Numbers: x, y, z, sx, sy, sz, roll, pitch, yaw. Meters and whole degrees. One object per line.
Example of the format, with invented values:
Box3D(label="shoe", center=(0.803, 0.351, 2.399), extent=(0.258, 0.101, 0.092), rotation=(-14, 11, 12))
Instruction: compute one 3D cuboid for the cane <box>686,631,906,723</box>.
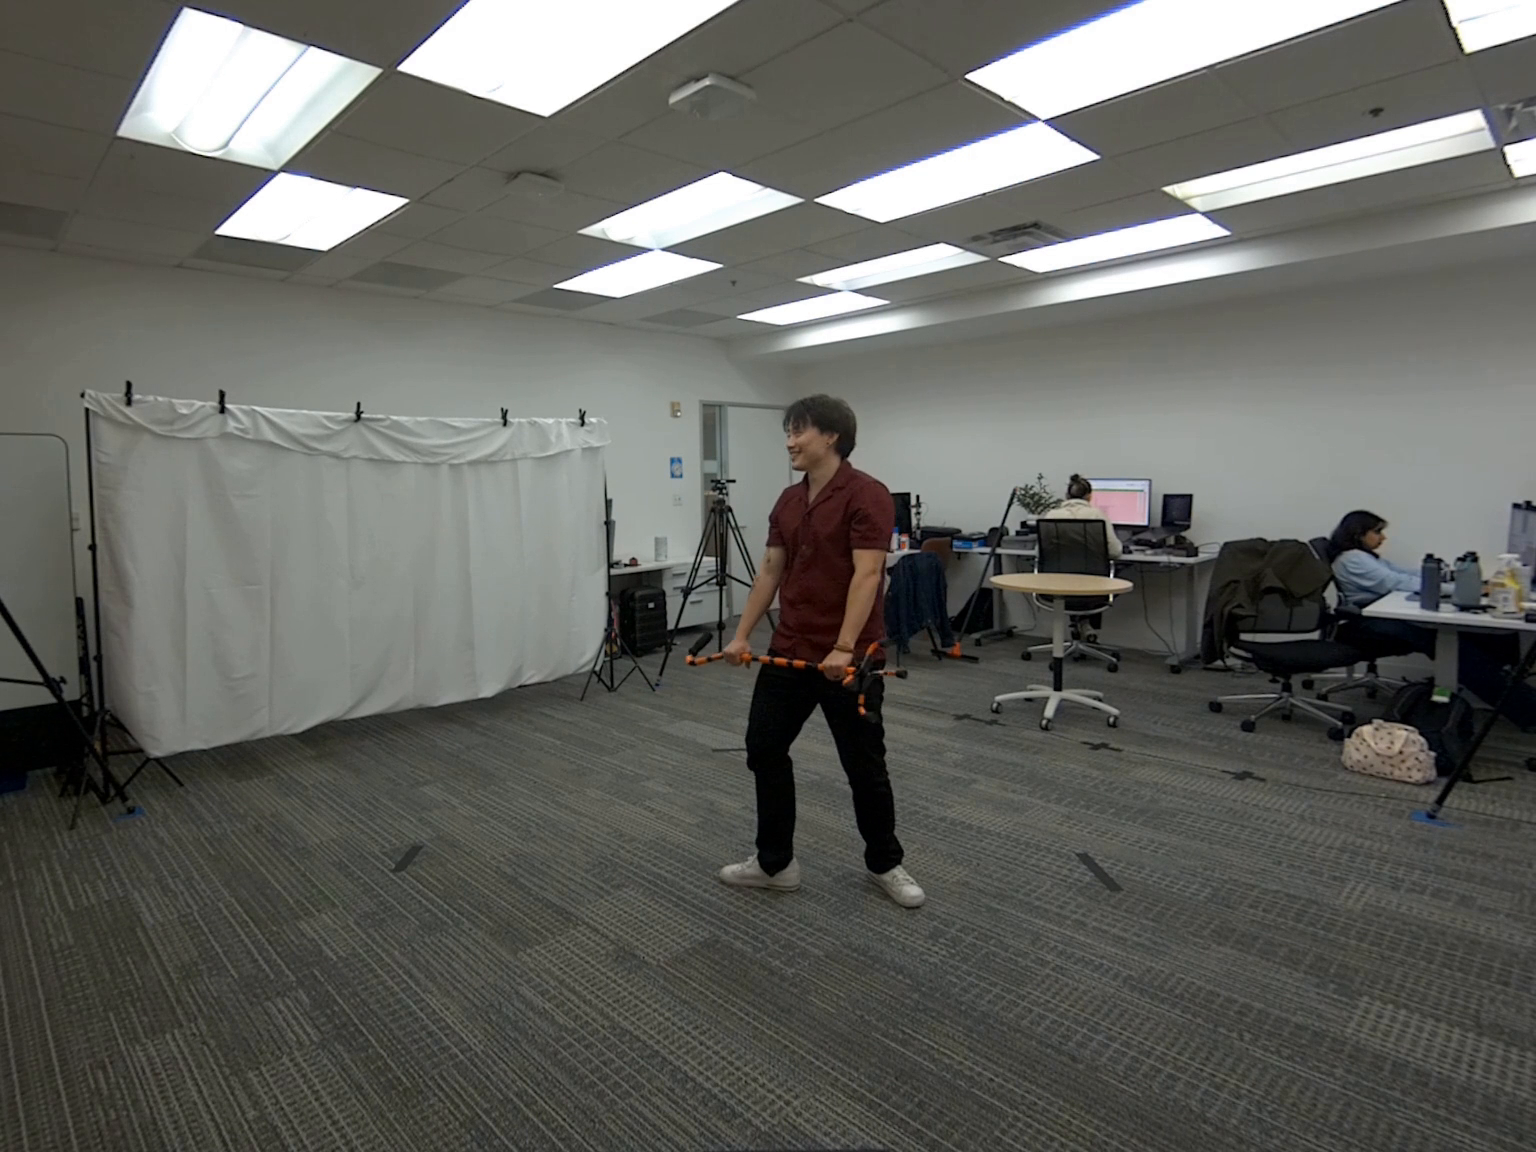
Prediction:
Box3D(label="cane", center=(0.002, 0.303, 2.796), extent=(0.933, 0.147, 0.206), rotation=(-1, 40, 49))
